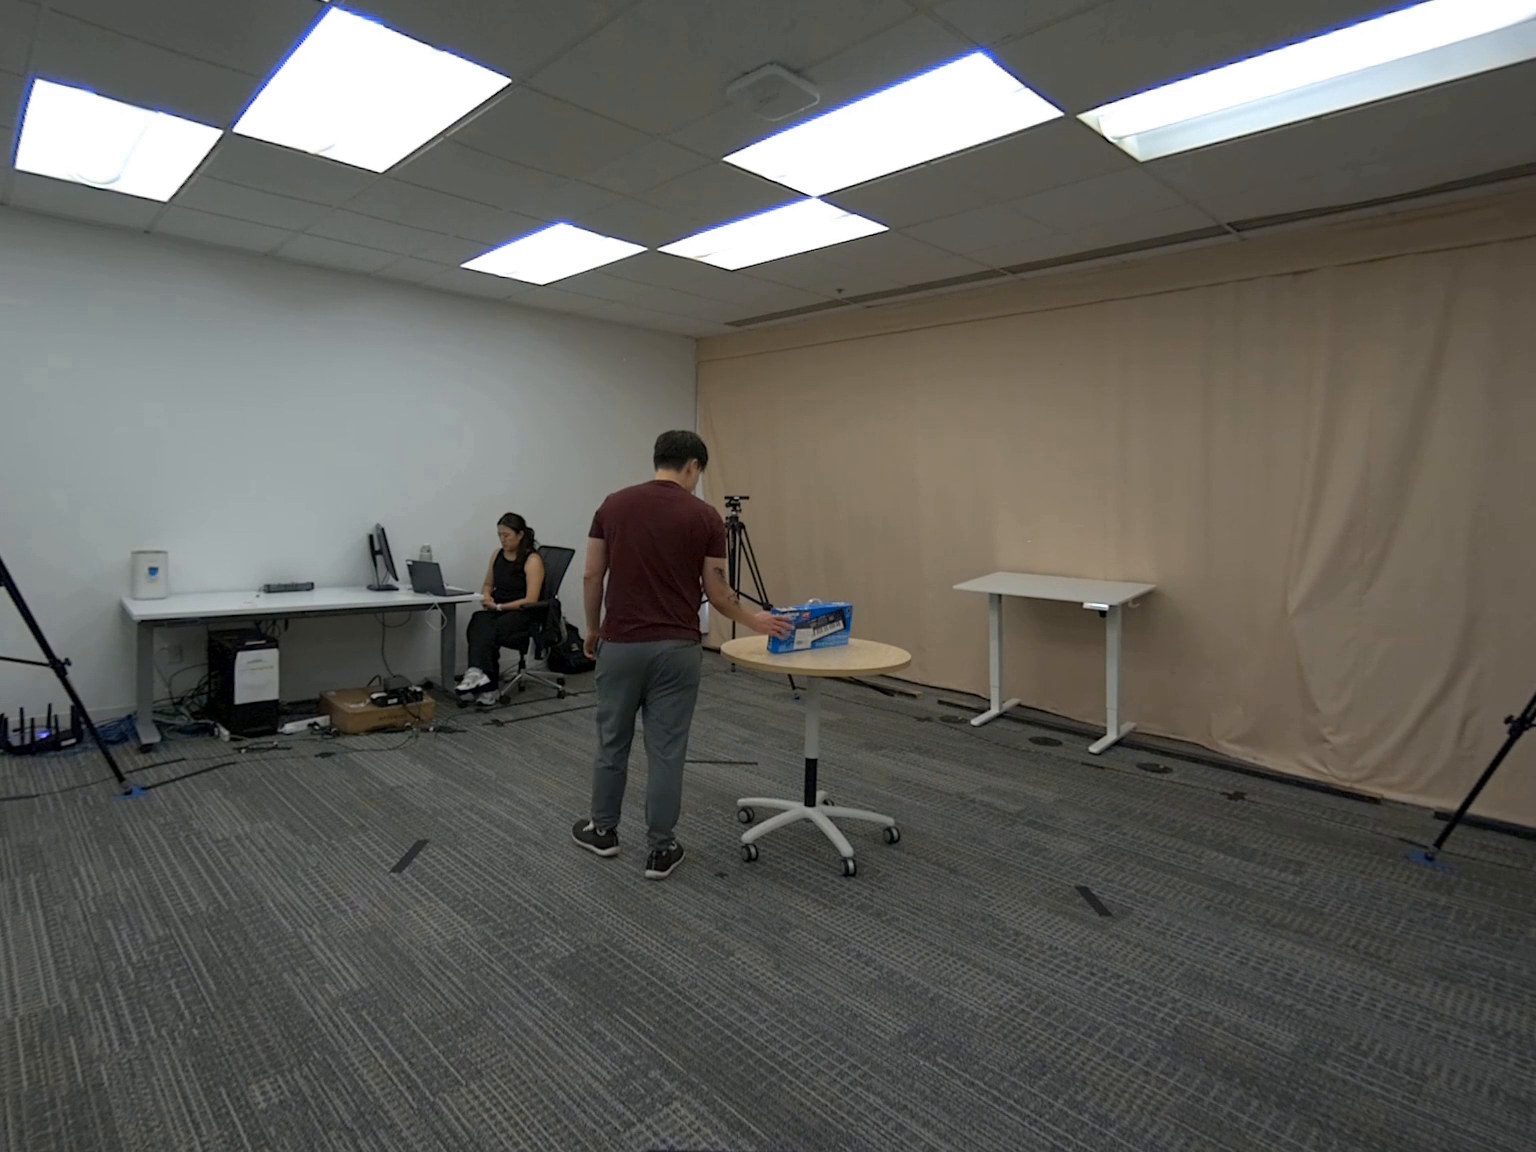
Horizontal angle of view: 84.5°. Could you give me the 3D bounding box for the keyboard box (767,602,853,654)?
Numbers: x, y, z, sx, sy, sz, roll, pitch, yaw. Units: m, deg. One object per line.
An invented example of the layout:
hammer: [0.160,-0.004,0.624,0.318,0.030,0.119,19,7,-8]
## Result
keyboard box: [0.172,0.212,3.455,0.427,0.175,0.061,-3,12,-44]
